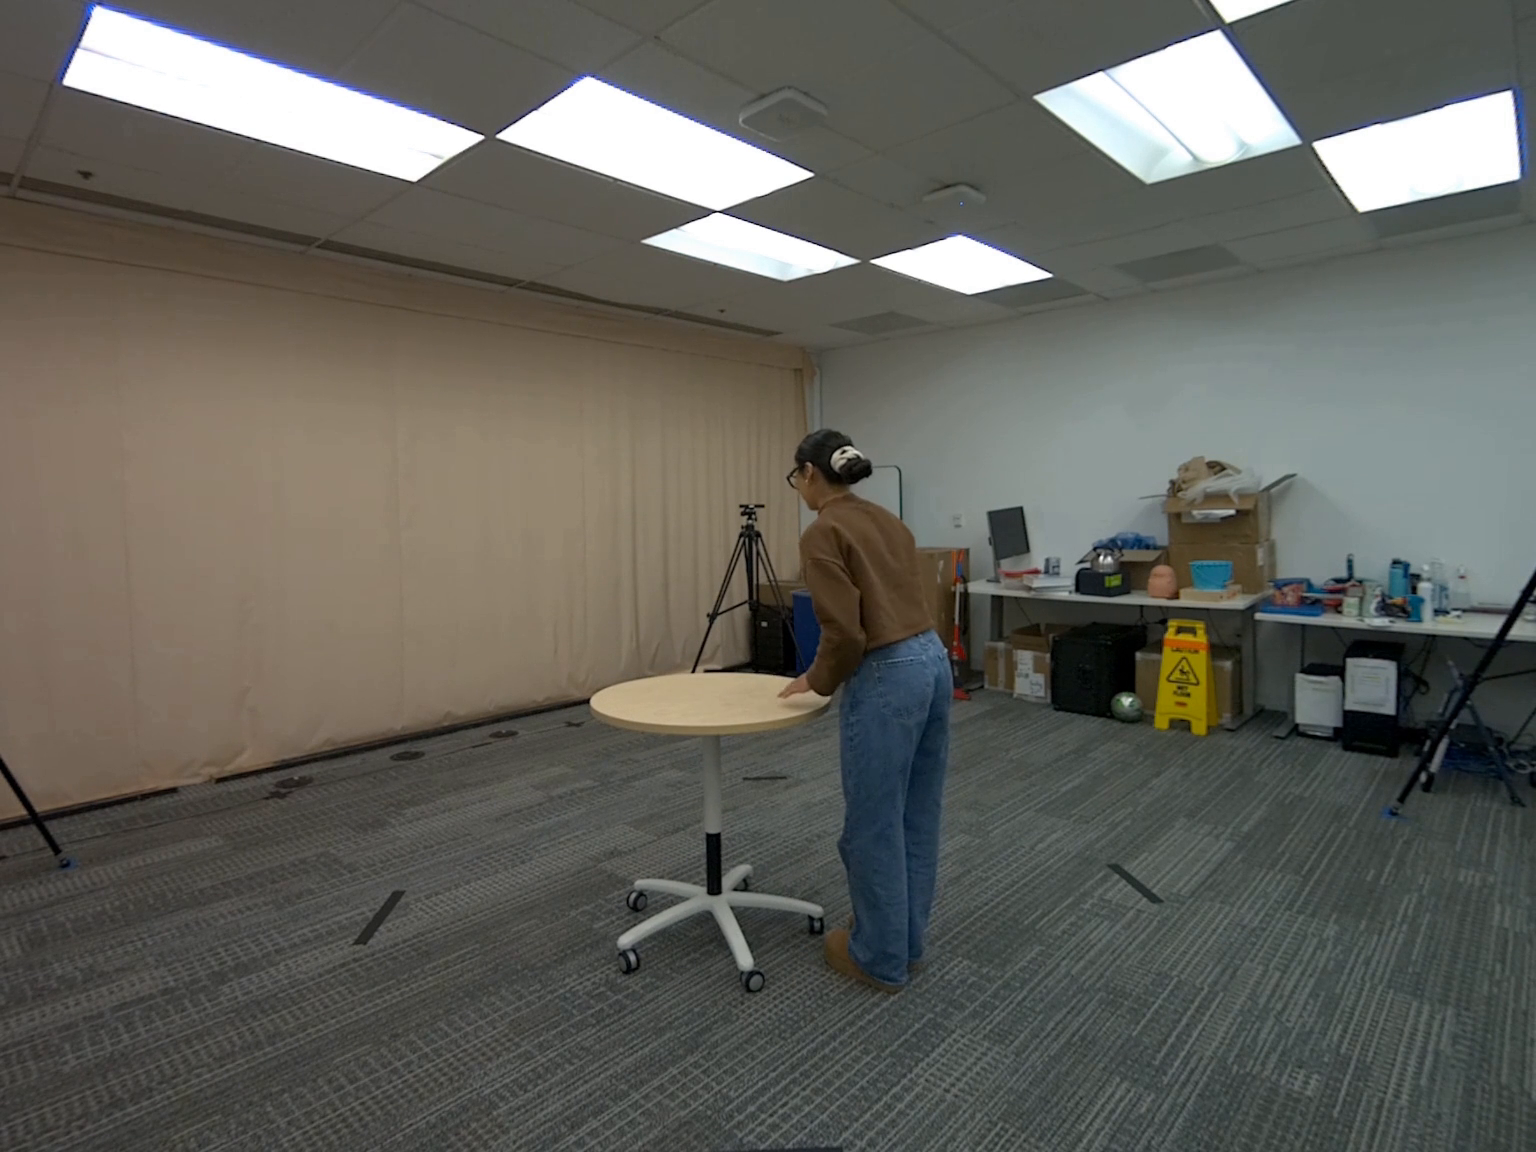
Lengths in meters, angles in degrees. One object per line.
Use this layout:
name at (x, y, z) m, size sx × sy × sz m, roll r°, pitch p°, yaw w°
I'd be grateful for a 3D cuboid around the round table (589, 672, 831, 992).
round table at (-0.172, 0.778, 2.710) m, size 0.763 × 0.792 × 0.766 m, roll -1°, pitch 3°, yaw -2°
